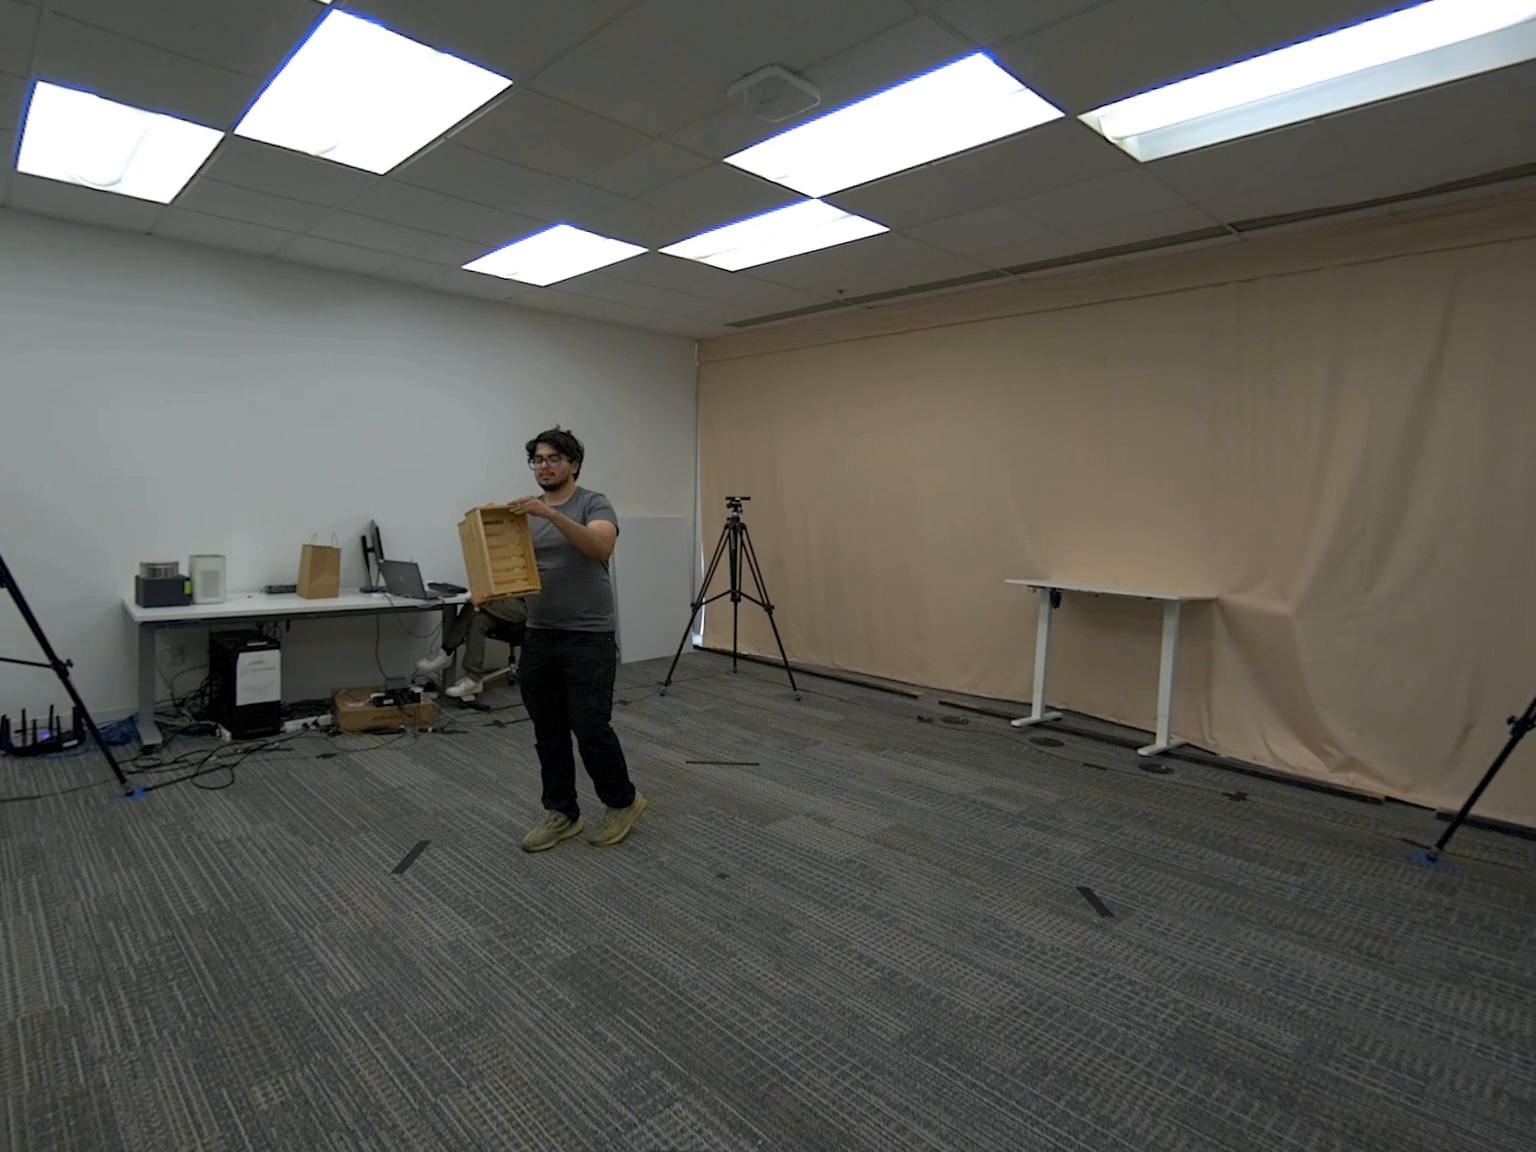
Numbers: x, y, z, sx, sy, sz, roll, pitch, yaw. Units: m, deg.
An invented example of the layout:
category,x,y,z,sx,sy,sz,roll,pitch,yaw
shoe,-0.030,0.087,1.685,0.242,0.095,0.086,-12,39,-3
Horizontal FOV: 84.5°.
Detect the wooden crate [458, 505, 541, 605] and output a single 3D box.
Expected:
category,x,y,z,sx,sy,sz,roll,pitch,yaw
wooden crate,-0.944,-0.079,3.002,0.296,0.326,0.278,-8,-5,-44
